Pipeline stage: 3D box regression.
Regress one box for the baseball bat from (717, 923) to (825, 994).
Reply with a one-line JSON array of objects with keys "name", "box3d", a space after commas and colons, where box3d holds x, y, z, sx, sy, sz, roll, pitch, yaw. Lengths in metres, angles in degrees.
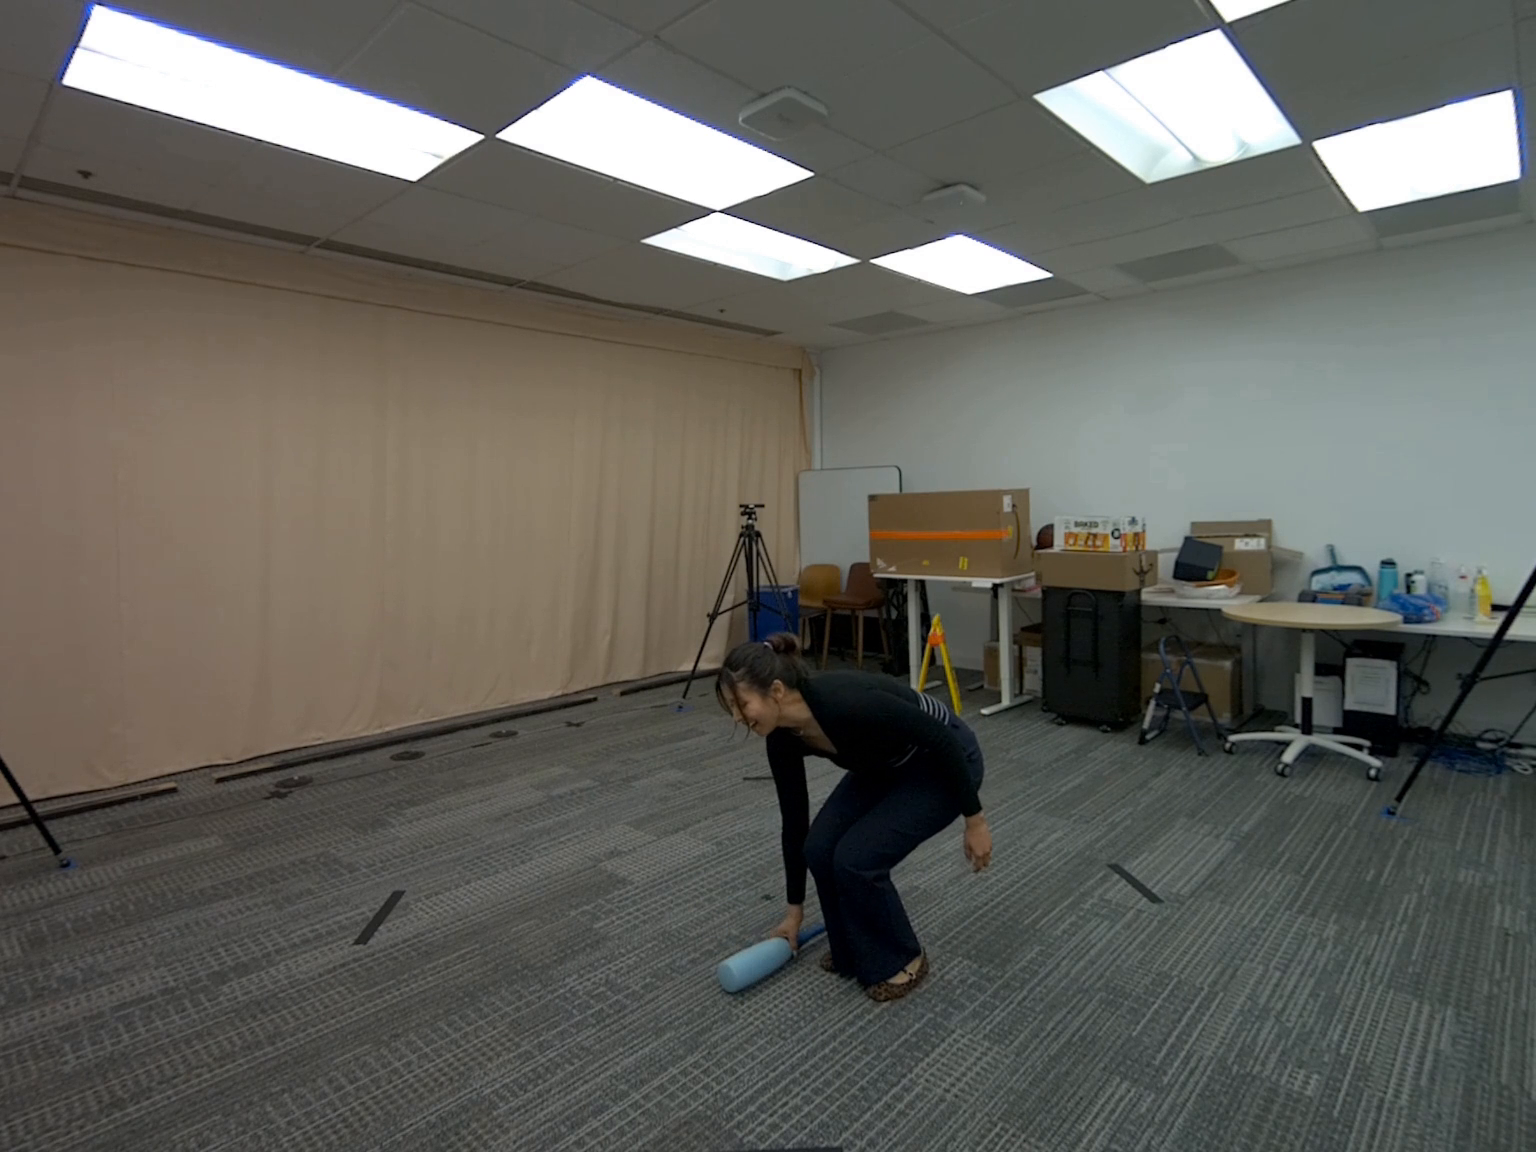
[{"name": "baseball bat", "box3d": [0.063, 1.132, 2.568, 0.092, 0.089, 0.526, 3, 3, 45]}]
